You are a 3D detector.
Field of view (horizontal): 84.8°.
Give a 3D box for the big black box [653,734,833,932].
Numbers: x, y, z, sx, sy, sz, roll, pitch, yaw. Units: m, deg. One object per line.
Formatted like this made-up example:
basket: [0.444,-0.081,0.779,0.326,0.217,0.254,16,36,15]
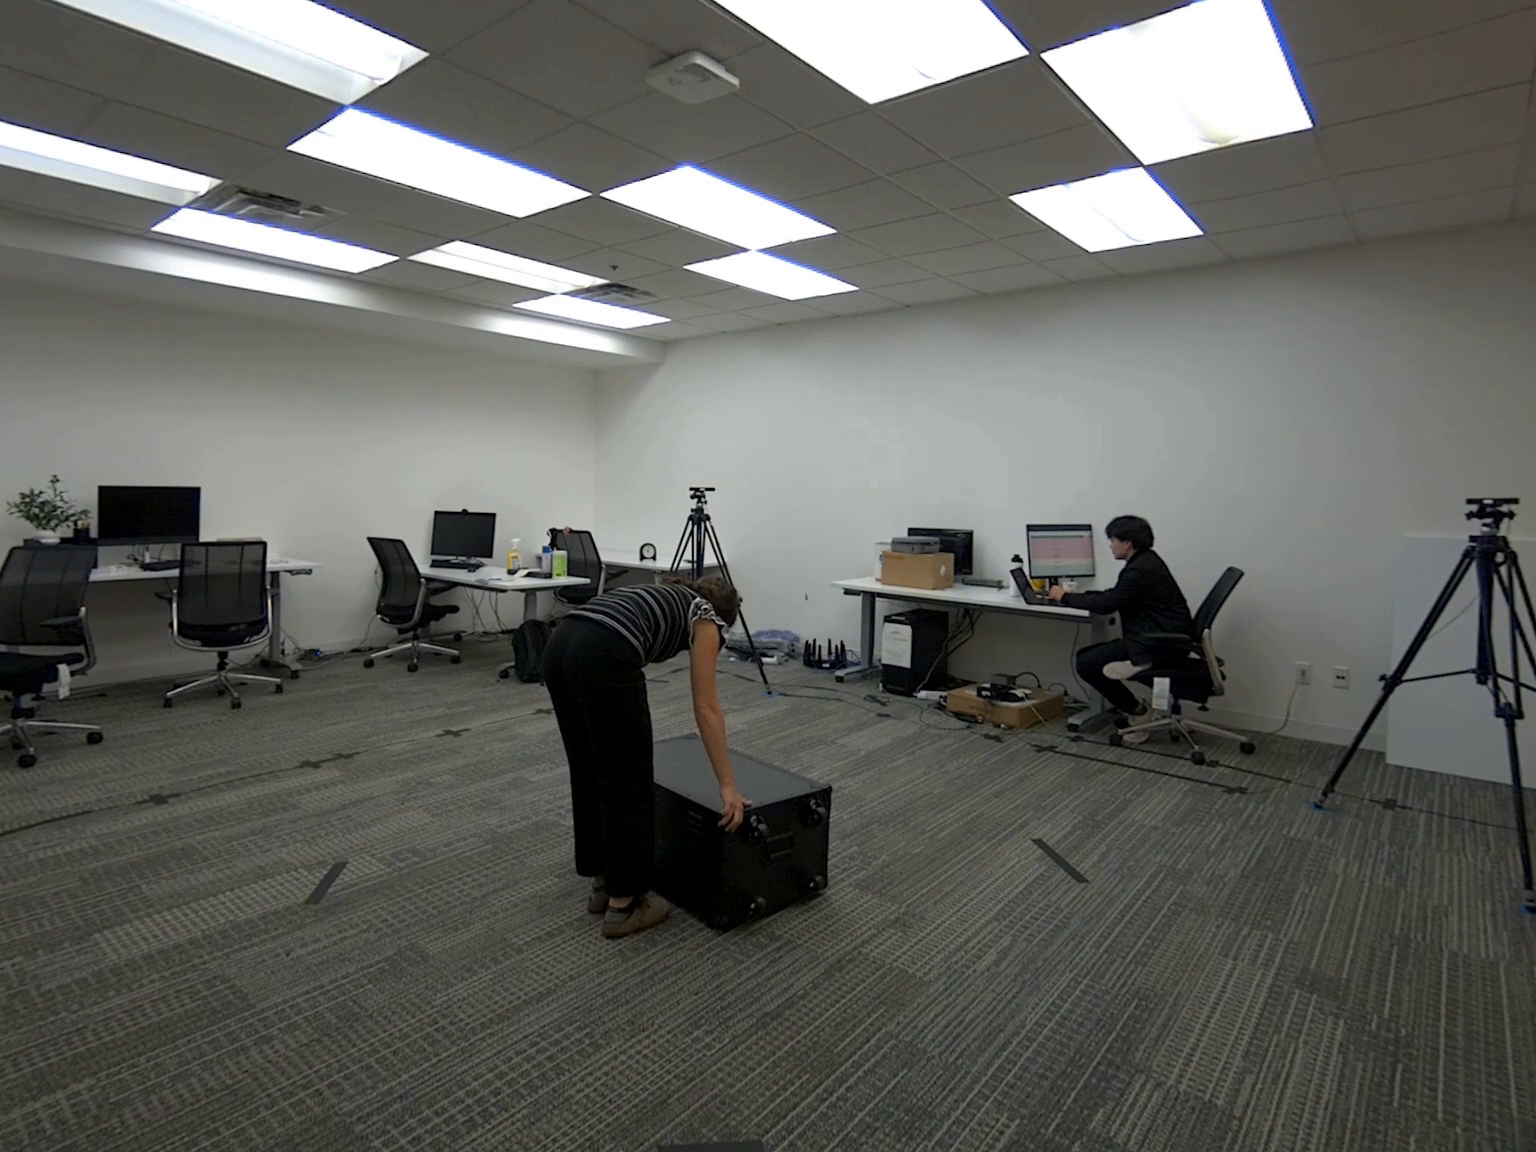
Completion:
big black box: [-0.217,0.878,3.048,0.505,0.395,0.890,-2,5,-41]
